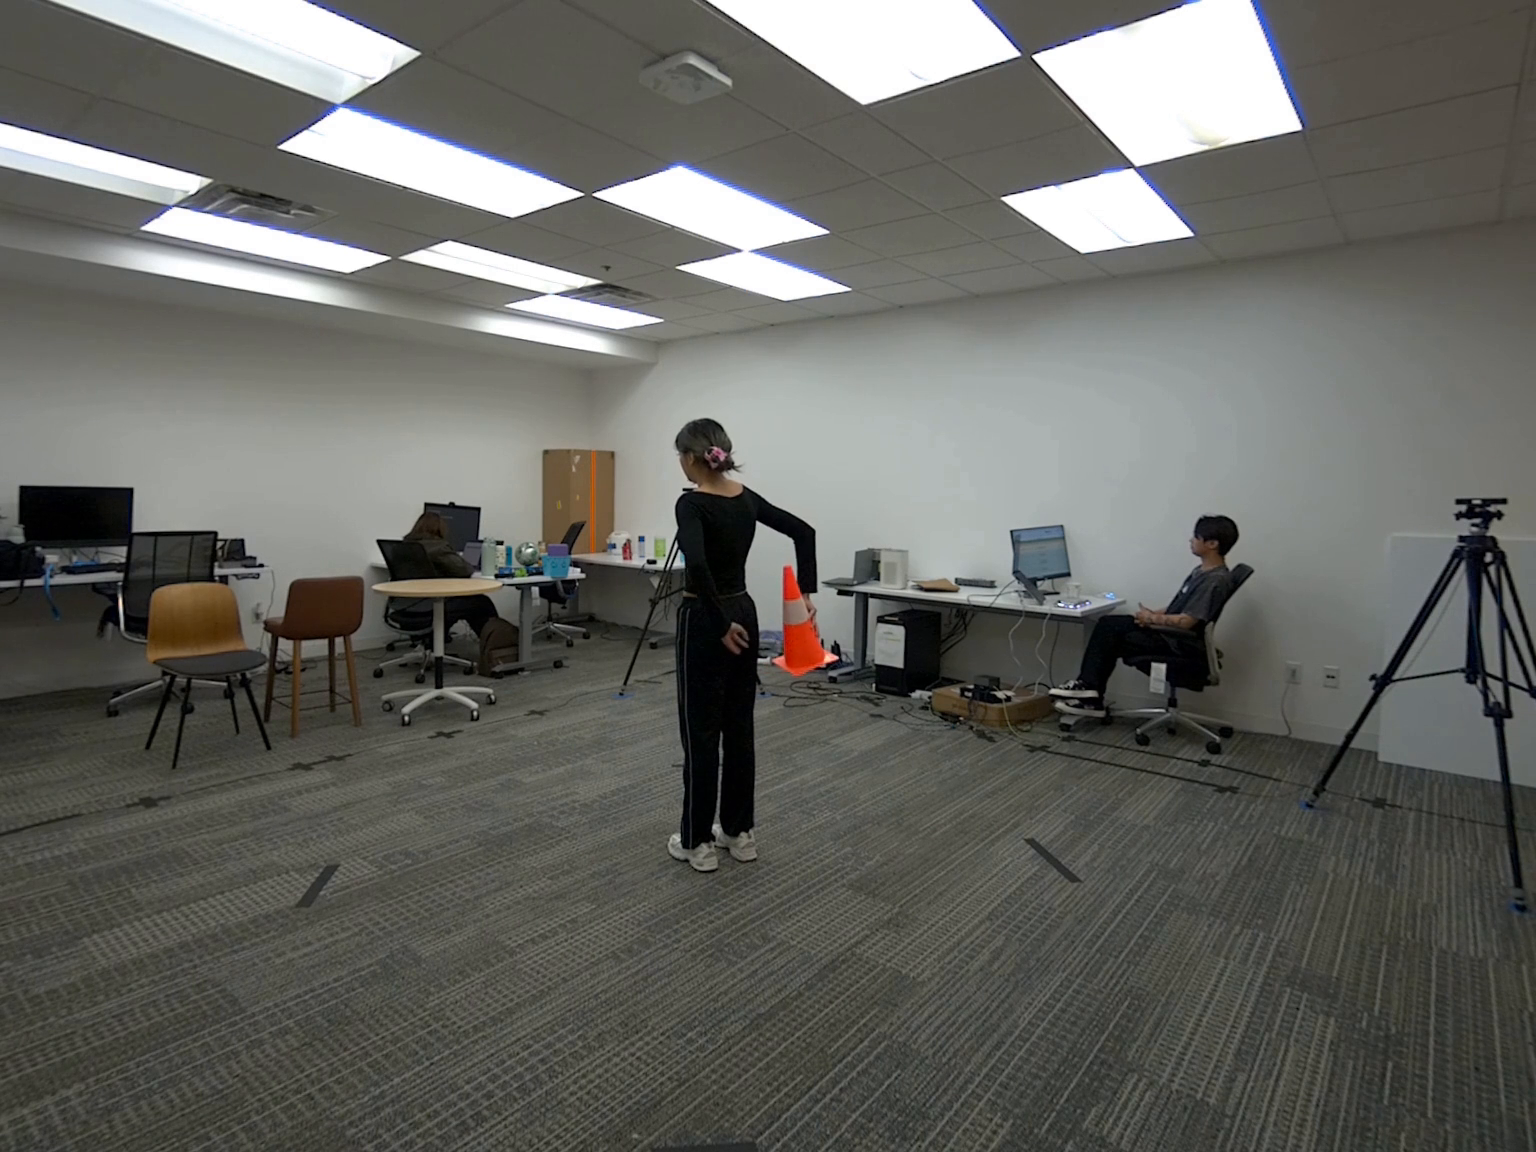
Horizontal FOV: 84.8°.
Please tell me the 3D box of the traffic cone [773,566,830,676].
[{"bbox_3d":[0.090,0.143,3.224,0.201,0.378,0.210,-18,17,-33],"label":"traffic cone"}]
